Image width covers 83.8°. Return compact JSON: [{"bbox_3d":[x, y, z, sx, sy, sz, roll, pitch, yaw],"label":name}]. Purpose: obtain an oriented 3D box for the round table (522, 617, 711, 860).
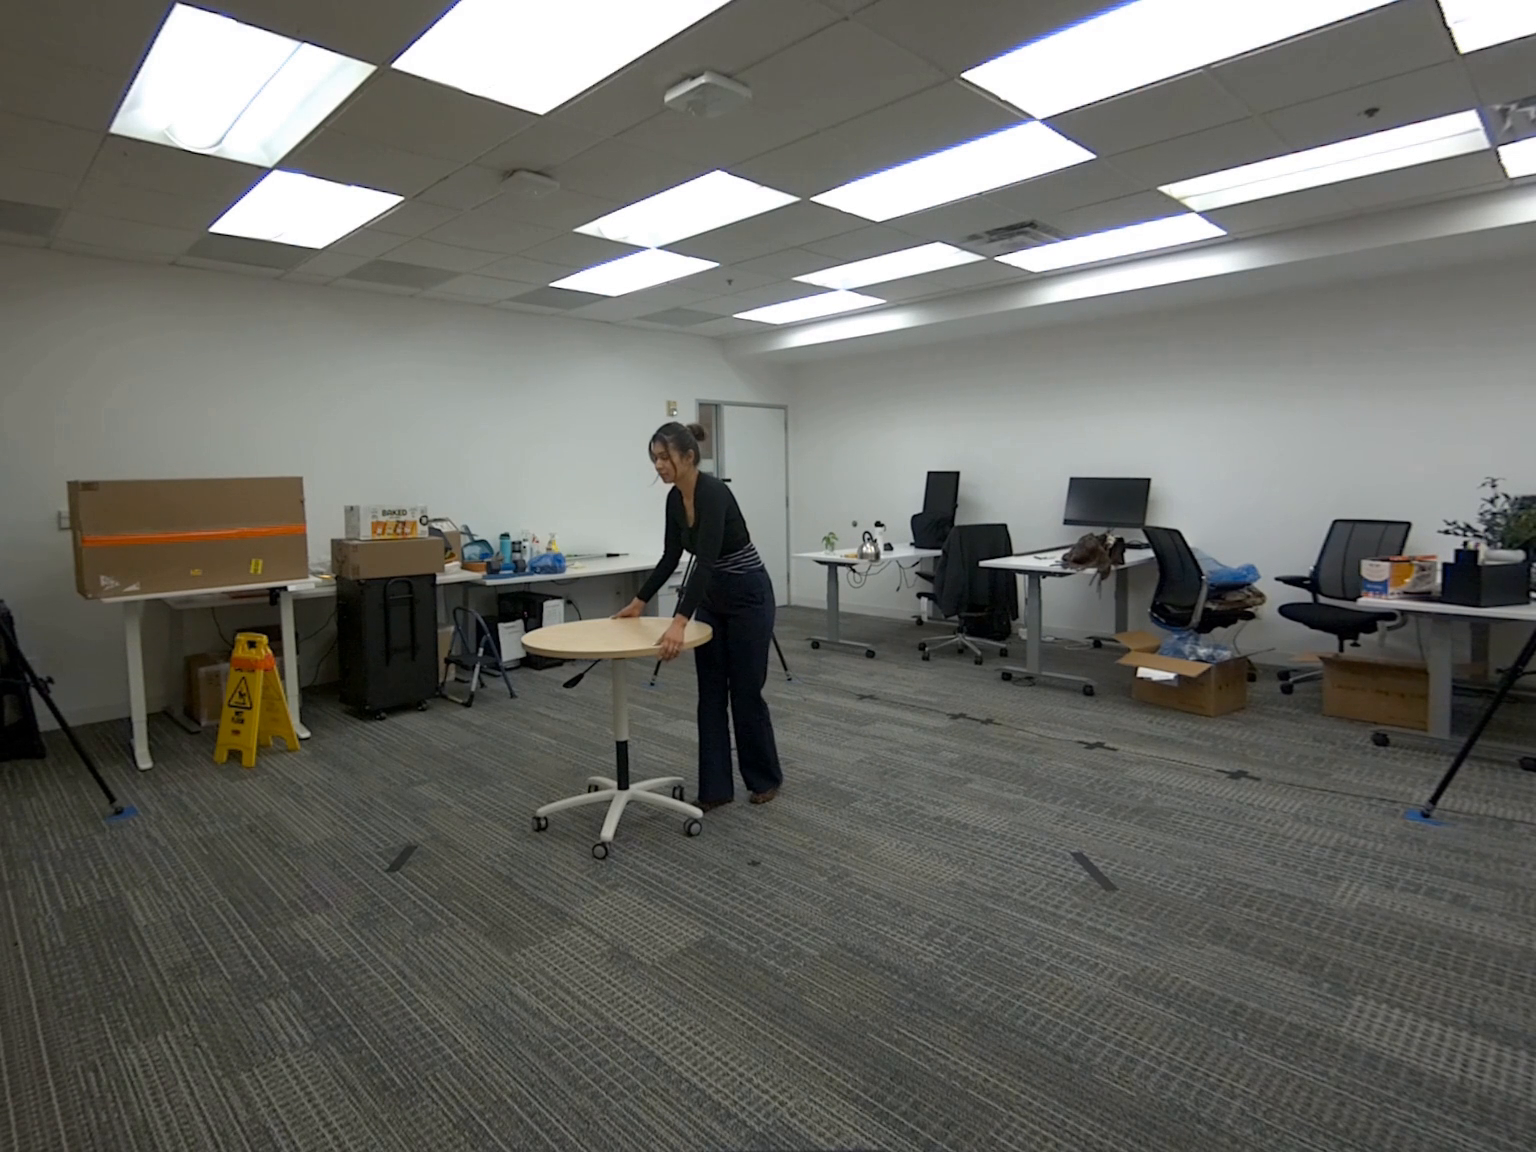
[{"bbox_3d":[-0.595,0.623,3.482,0.763,0.791,0.768,-2,5,-2],"label":"round table"}]
